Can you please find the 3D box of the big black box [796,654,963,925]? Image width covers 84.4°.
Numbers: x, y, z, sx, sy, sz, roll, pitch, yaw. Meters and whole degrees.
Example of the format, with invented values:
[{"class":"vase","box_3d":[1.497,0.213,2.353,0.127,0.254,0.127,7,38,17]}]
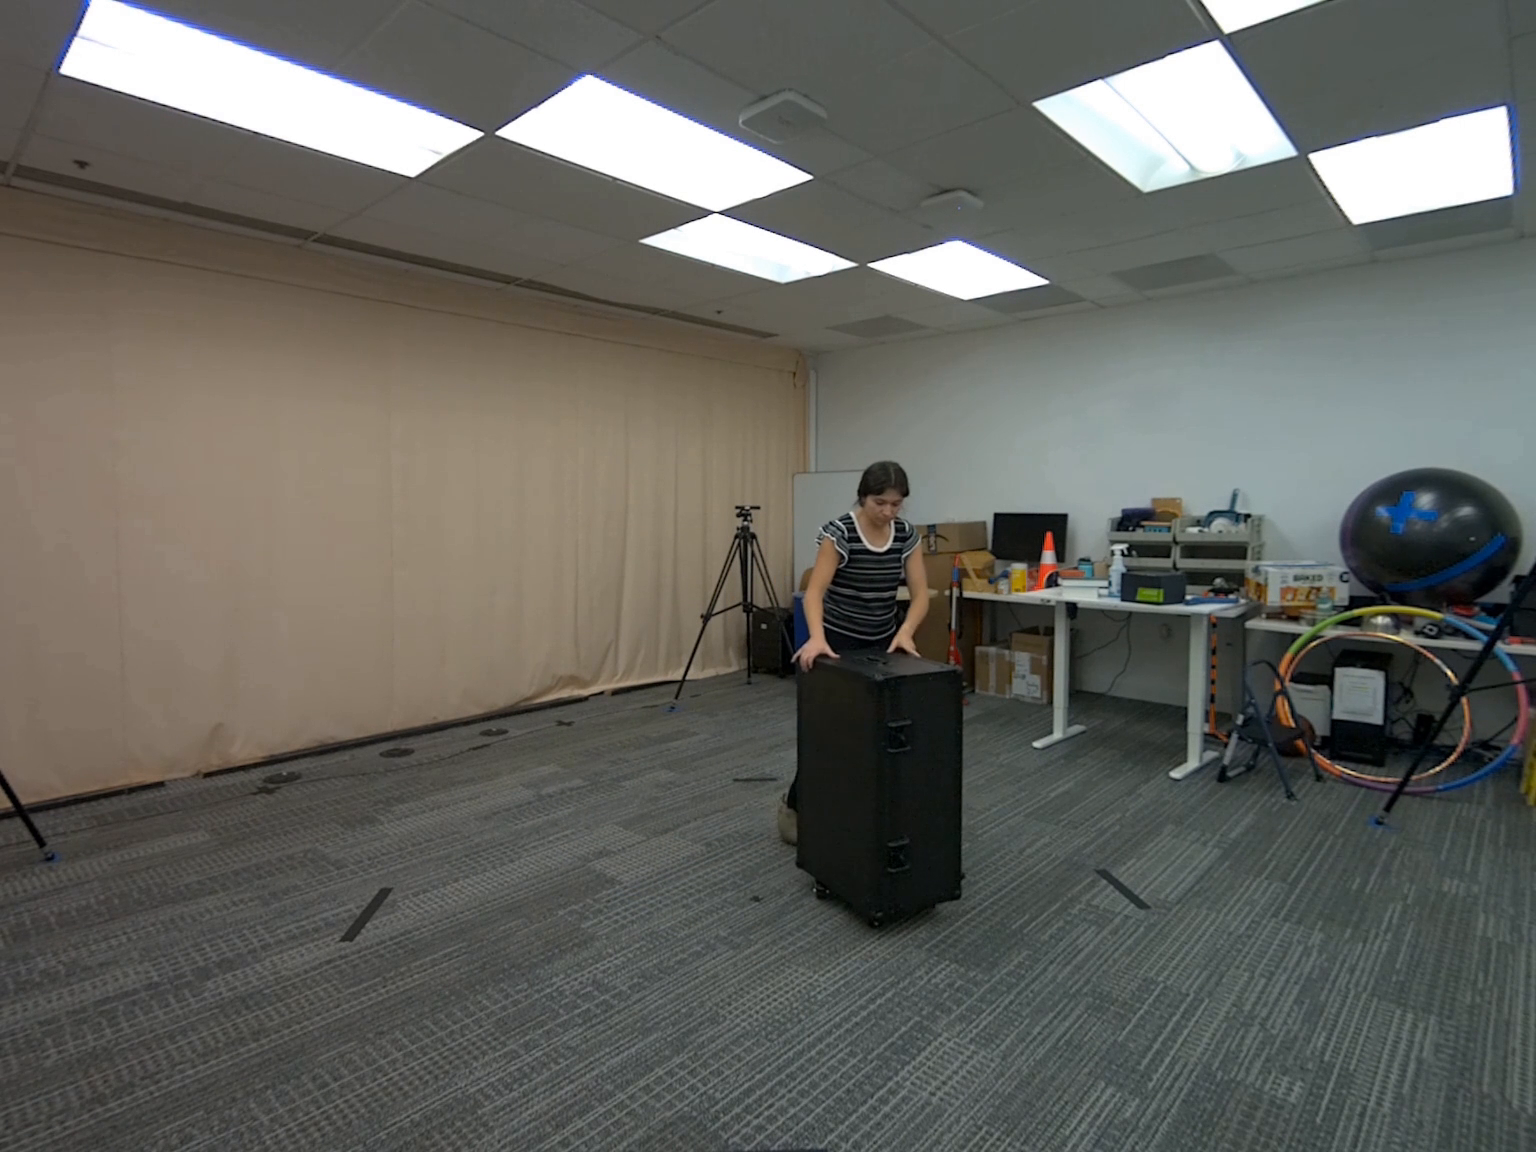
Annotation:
[{"class":"big black box","box_3d":[0.382,0.717,2.953,0.386,0.860,0.536,-1,3,-29]}]
